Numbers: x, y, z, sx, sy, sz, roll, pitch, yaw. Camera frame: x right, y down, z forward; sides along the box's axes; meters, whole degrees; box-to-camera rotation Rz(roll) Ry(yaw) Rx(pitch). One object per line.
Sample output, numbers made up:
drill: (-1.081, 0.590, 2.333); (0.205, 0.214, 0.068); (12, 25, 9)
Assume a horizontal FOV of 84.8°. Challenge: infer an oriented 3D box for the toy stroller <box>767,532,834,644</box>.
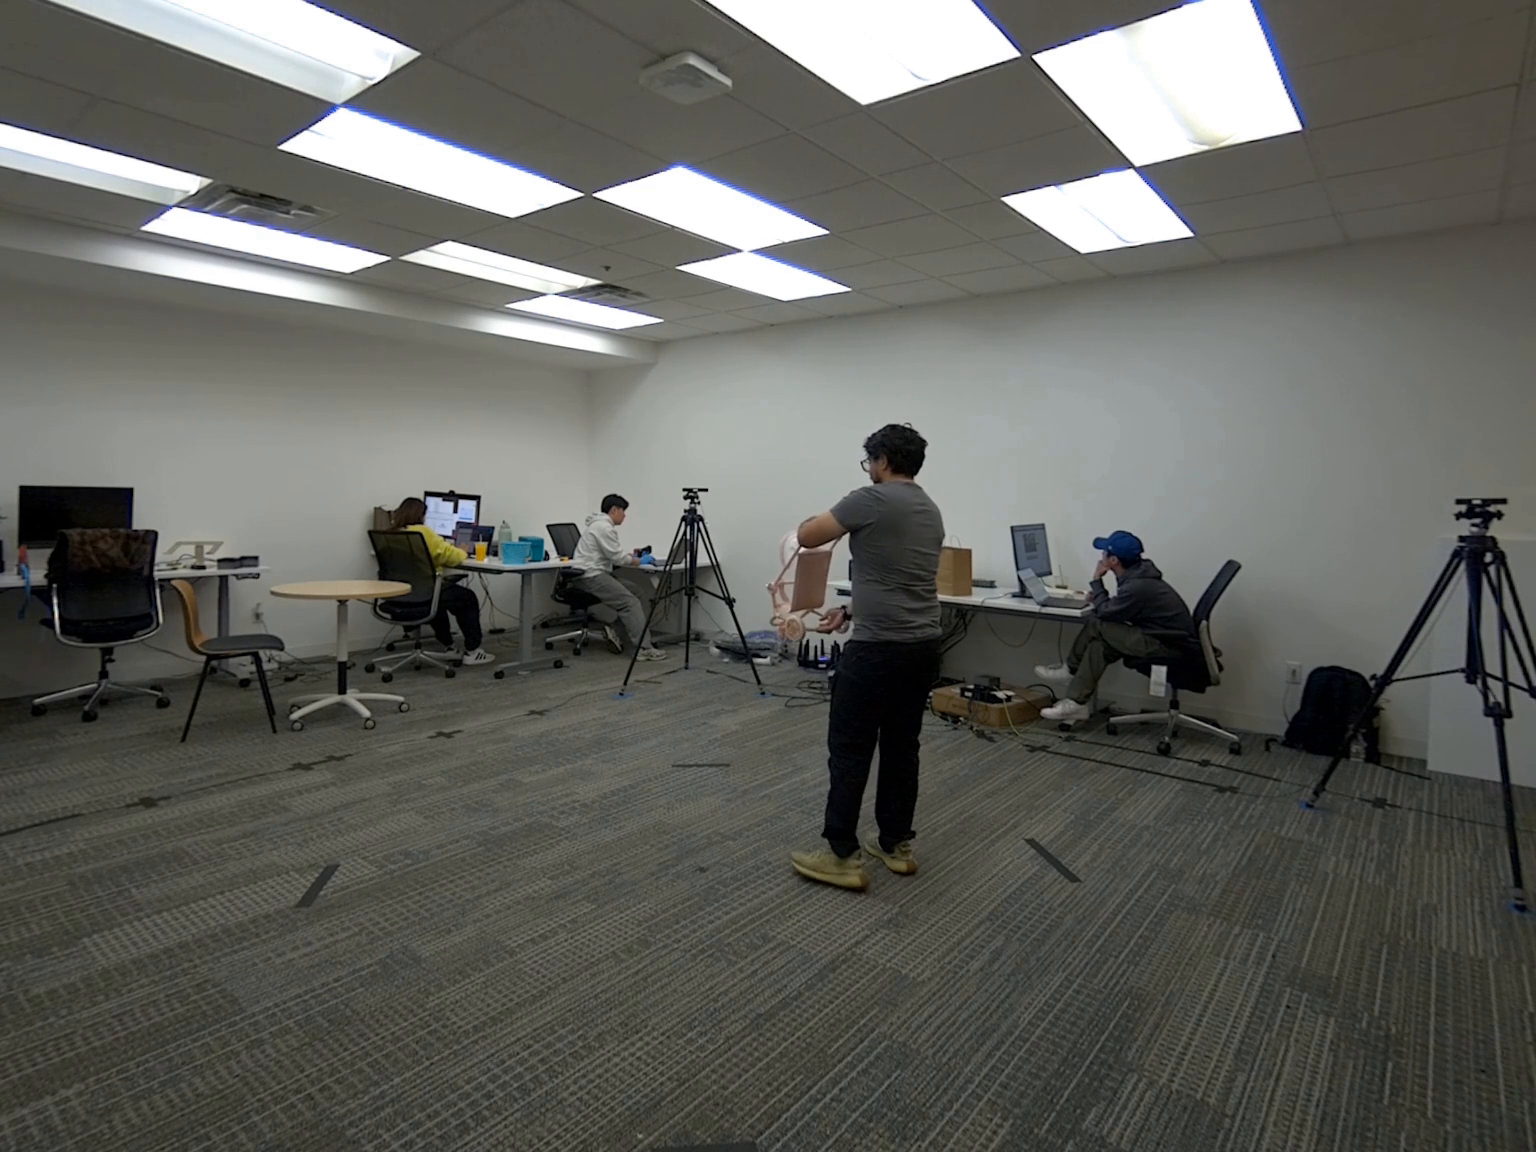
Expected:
toy stroller: (0.134, 0.045, 3.613); (0.274, 0.531, 0.353); (-5, 9, -33)
